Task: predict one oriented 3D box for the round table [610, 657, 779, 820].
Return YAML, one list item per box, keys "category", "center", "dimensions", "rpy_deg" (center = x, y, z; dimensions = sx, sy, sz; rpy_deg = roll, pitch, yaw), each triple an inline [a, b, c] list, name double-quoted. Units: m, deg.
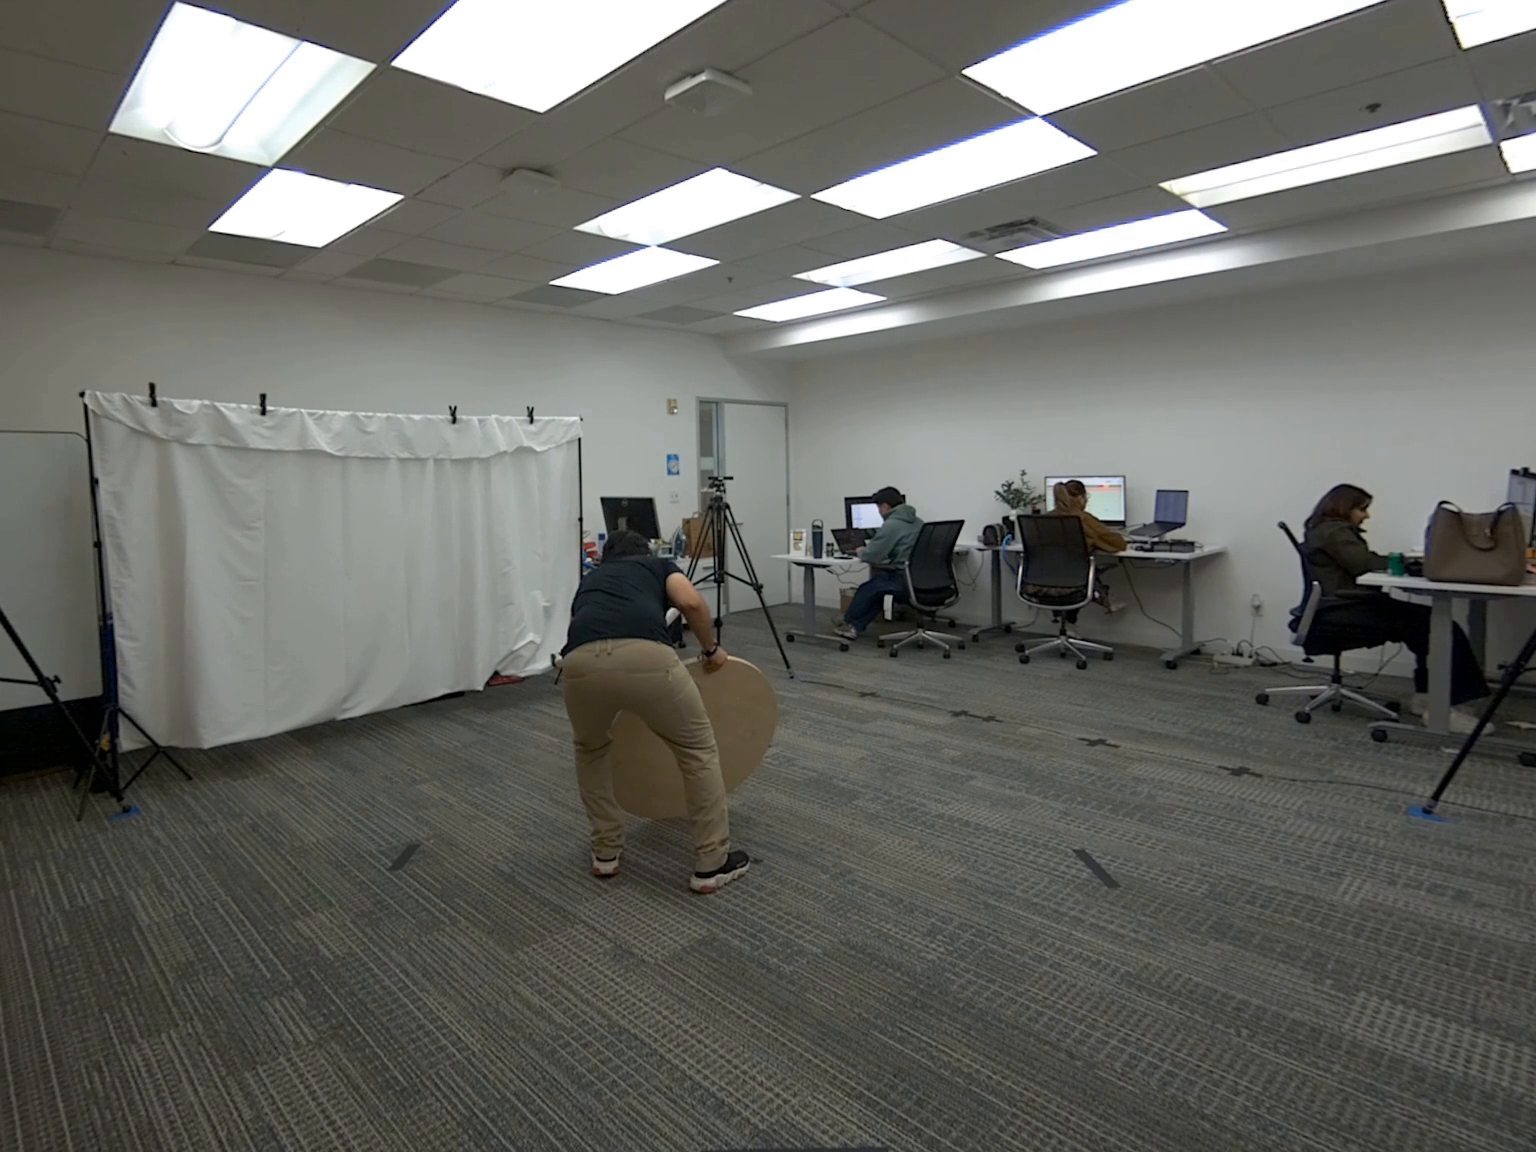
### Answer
- category: "round table"
  center: [-0.483, 0.476, 3.713]
  dimensions: [0.768, 0.772, 0.817]
  rpy_deg: [-4, 27, -28]
